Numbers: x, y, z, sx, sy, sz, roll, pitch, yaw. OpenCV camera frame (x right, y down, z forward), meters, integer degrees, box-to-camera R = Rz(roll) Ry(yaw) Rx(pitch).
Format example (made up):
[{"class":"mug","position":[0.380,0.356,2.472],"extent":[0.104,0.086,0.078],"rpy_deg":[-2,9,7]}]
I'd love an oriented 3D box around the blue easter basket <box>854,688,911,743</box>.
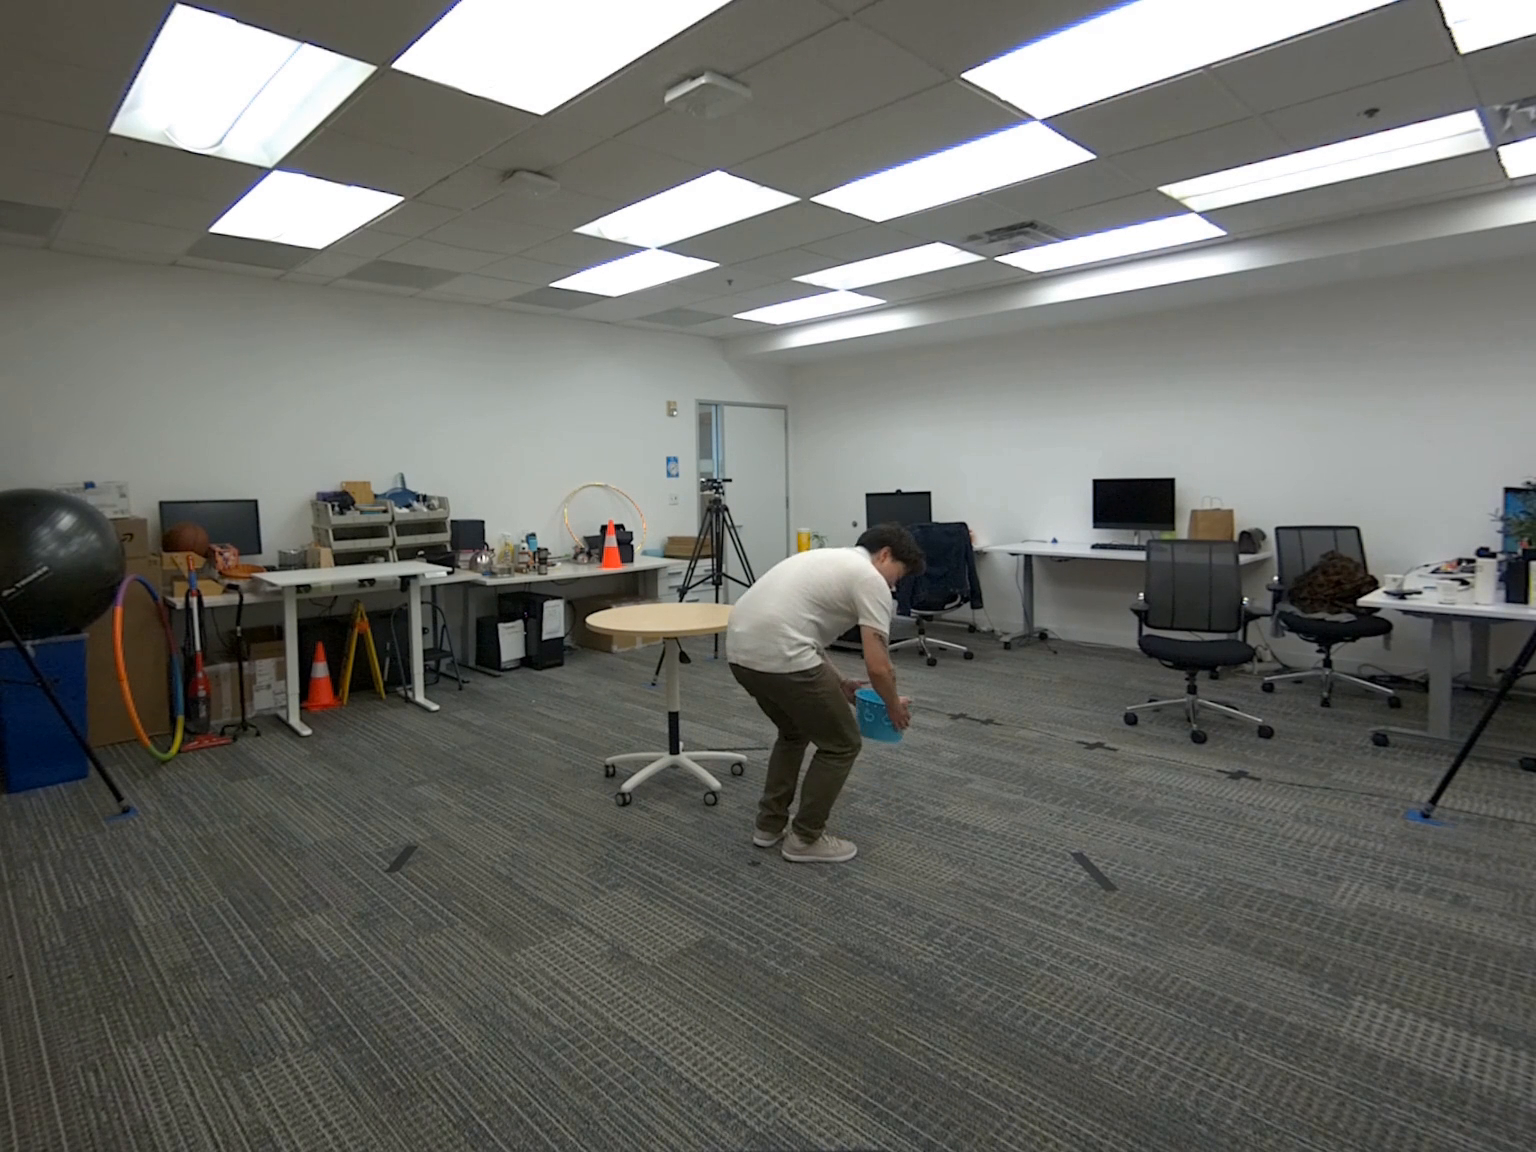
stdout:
[{"class":"blue easter basket","position":[0.446,0.548,3.352],"extent":[0.243,0.155,0.245],"rpy_deg":[7,6,-2]}]
